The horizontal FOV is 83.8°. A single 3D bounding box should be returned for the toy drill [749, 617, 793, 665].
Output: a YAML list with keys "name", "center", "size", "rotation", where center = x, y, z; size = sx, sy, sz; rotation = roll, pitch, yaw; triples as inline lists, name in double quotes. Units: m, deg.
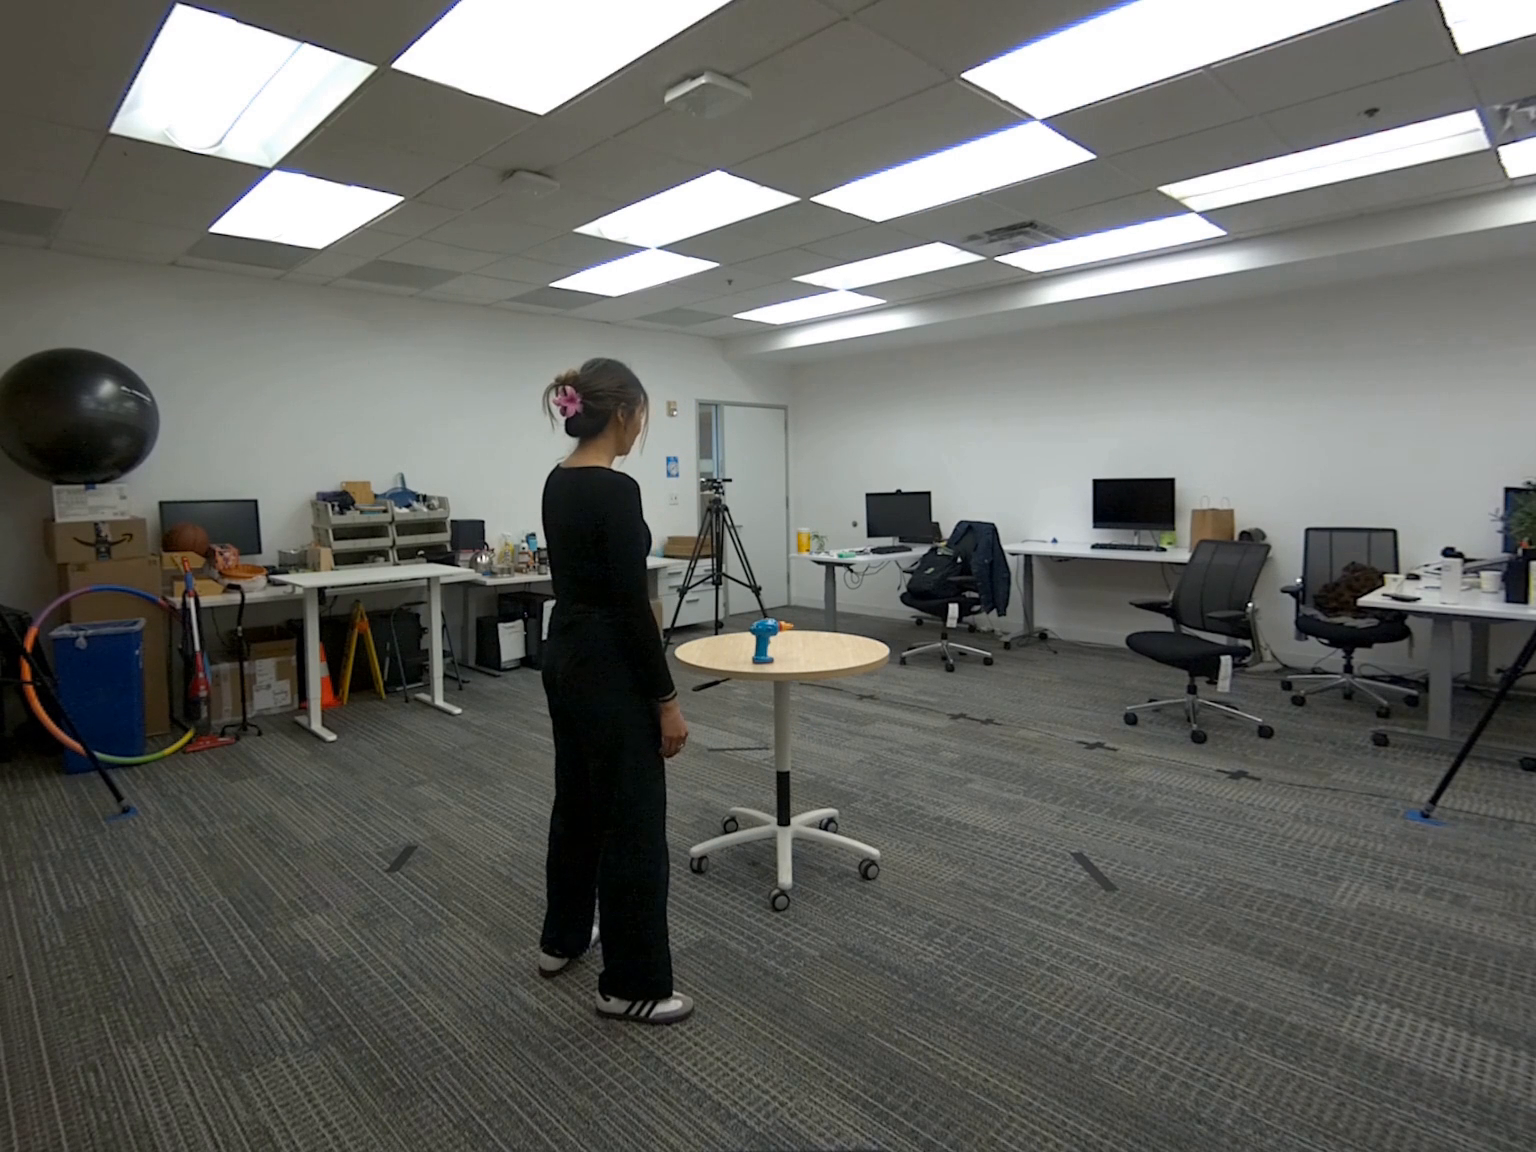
- name: "toy drill"
  center: [0.011, 0.211, 2.863]
  size: [0.166, 0.145, 0.063]
  rotation: [-5, 6, -27]
